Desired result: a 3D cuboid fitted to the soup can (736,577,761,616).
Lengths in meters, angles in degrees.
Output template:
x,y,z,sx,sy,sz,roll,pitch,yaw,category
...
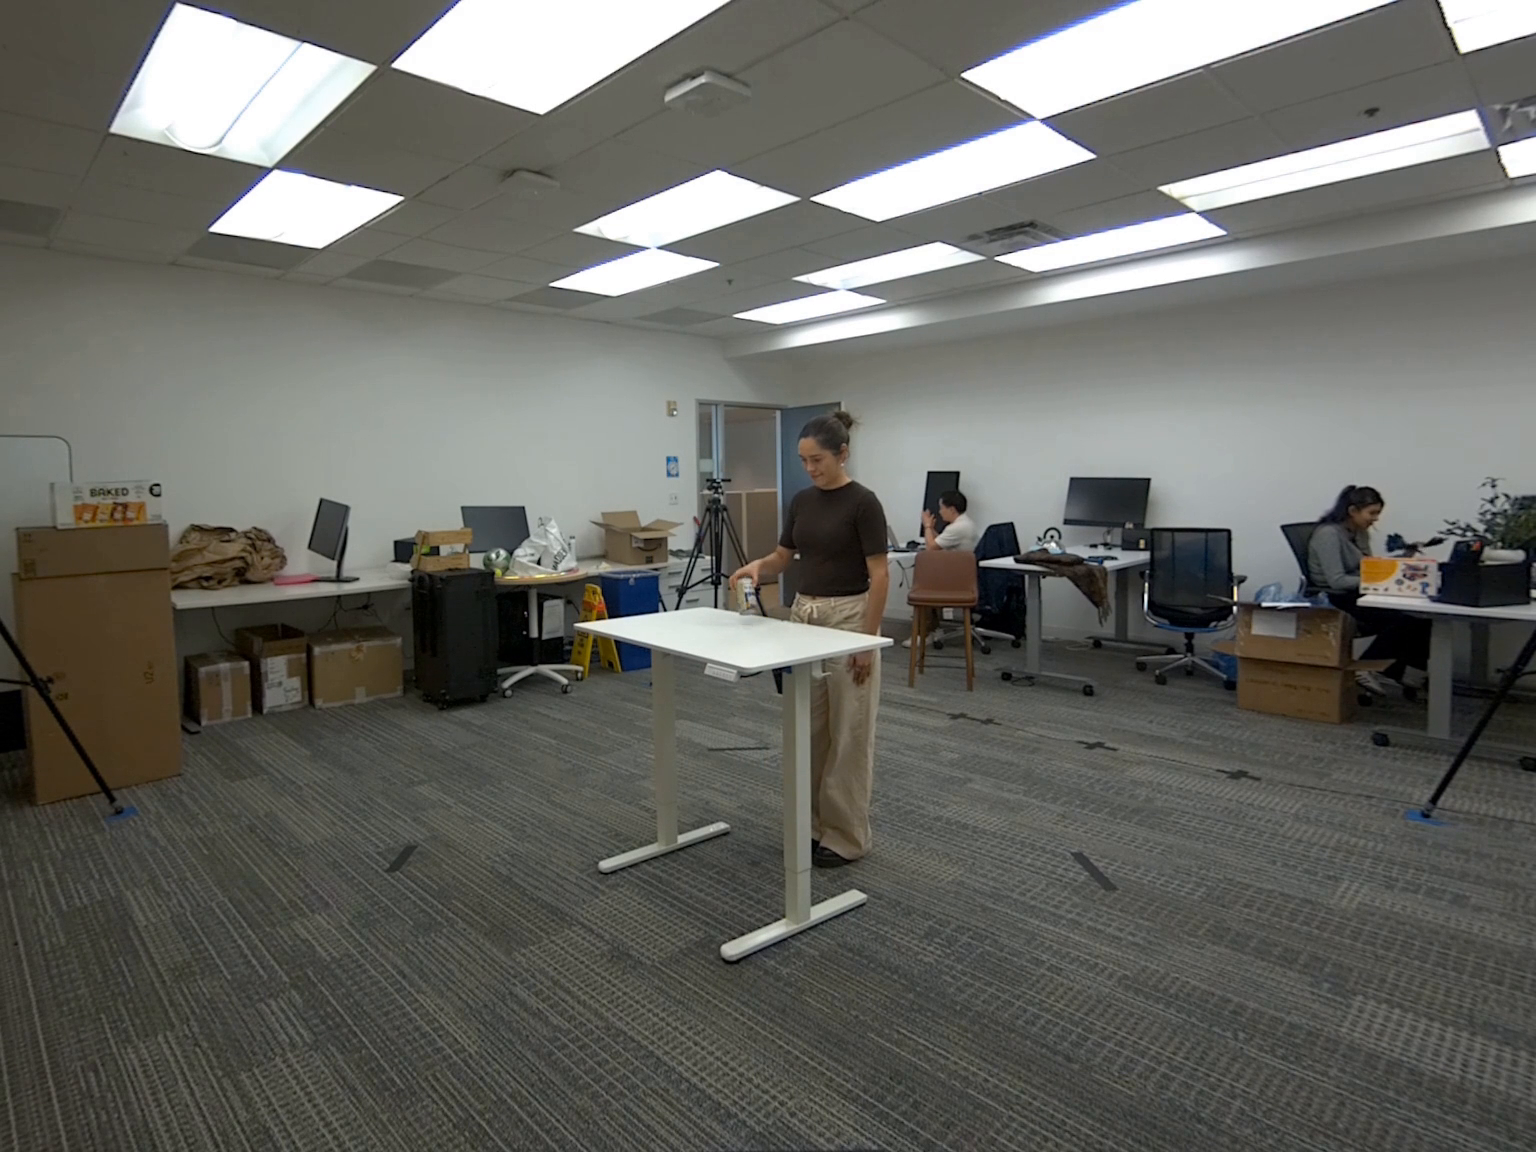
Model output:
x,y,z,sx,sy,sz,roll,pitch,yaw,category
-0.074,0.074,3.015,0.067,0.122,0.066,-3,-8,-2,soup can
